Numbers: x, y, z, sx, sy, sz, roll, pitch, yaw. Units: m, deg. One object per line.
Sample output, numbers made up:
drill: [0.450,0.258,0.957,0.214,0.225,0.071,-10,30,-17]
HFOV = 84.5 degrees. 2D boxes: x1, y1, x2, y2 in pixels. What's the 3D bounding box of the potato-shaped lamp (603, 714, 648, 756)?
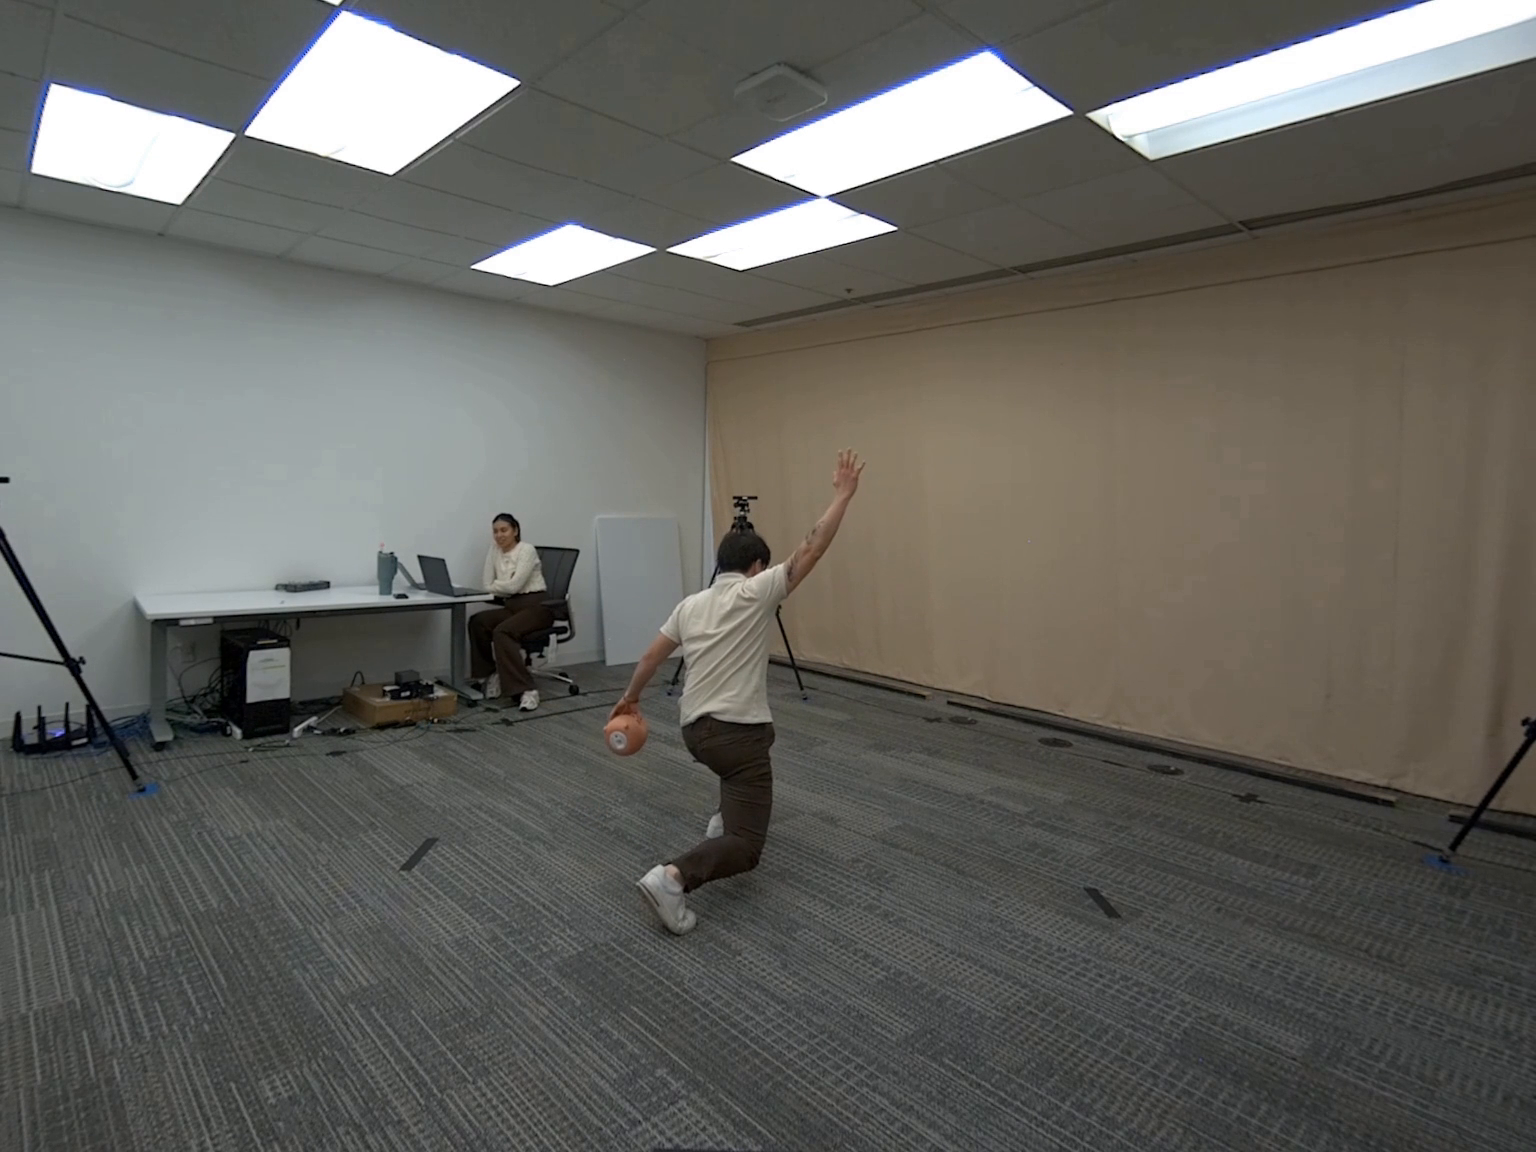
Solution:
potato-shaped lamp: [-0.599,0.664,3.569,0.166,0.170,0.197,-11,10,16]
